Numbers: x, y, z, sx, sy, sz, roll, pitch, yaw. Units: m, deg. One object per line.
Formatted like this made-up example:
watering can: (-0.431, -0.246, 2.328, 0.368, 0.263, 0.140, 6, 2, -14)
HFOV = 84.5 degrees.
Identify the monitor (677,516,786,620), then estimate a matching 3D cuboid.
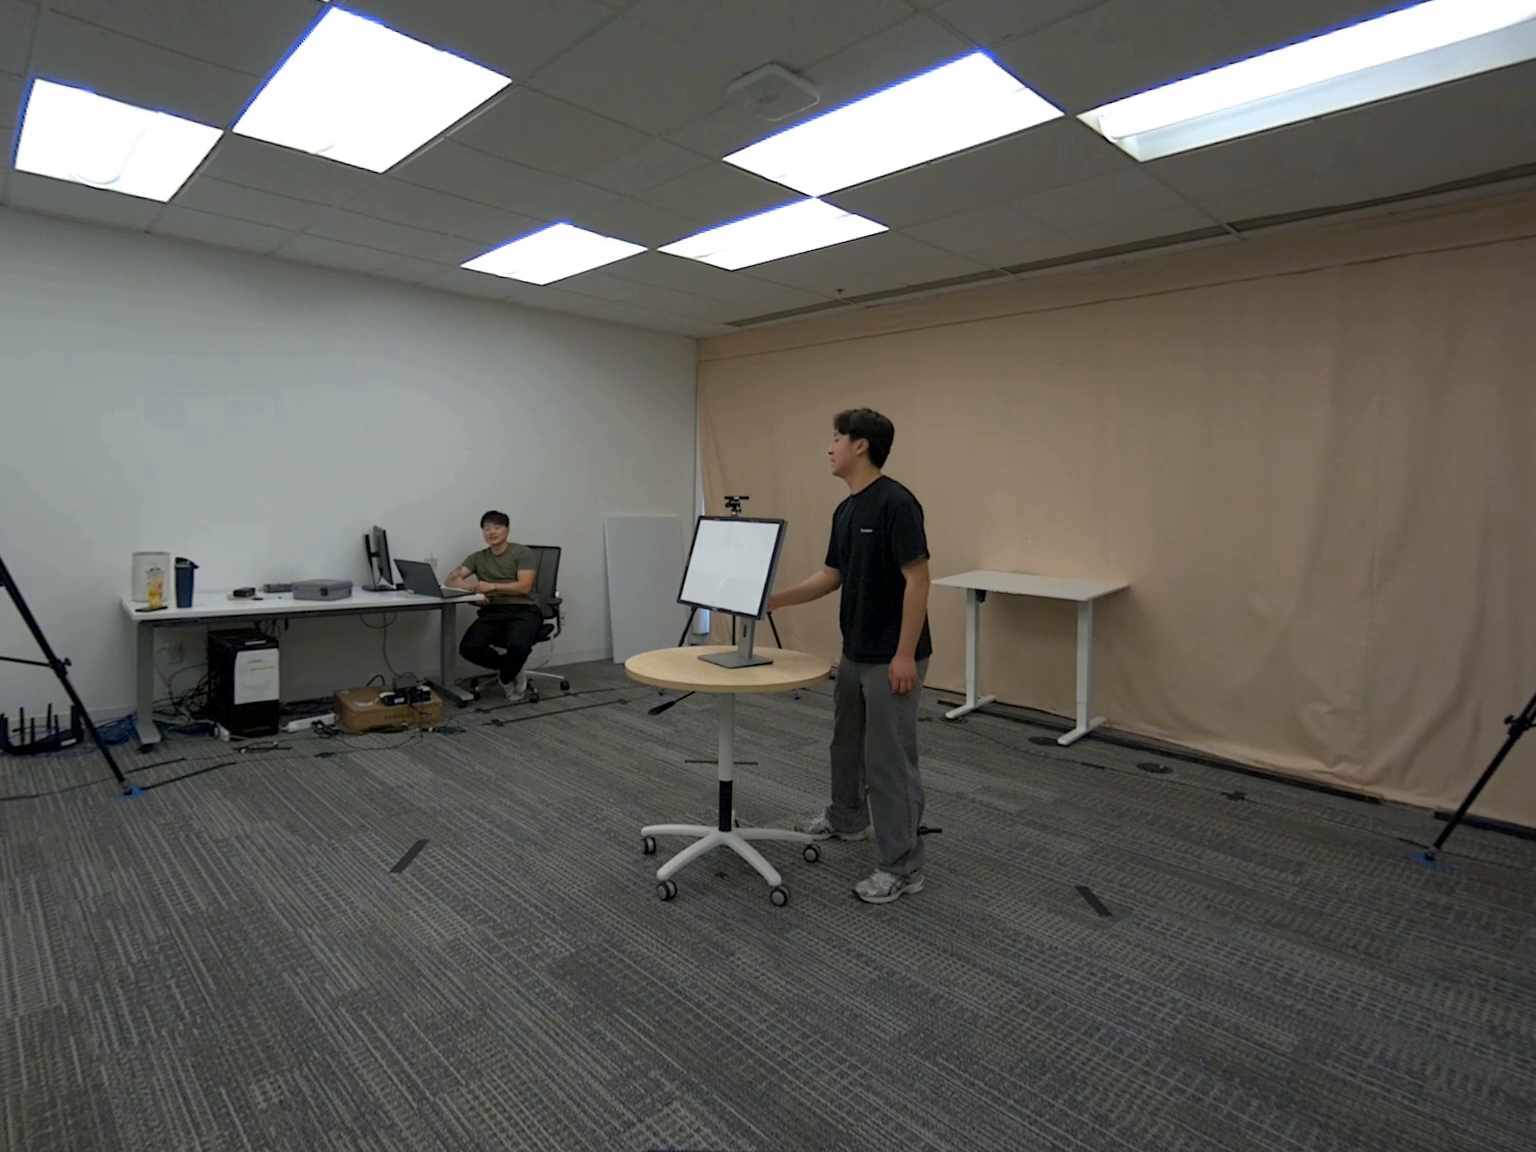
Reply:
monitor: (-0.126, 0.062, 3.164, 0.217, 0.564, 0.575, -2, 4, -33)
